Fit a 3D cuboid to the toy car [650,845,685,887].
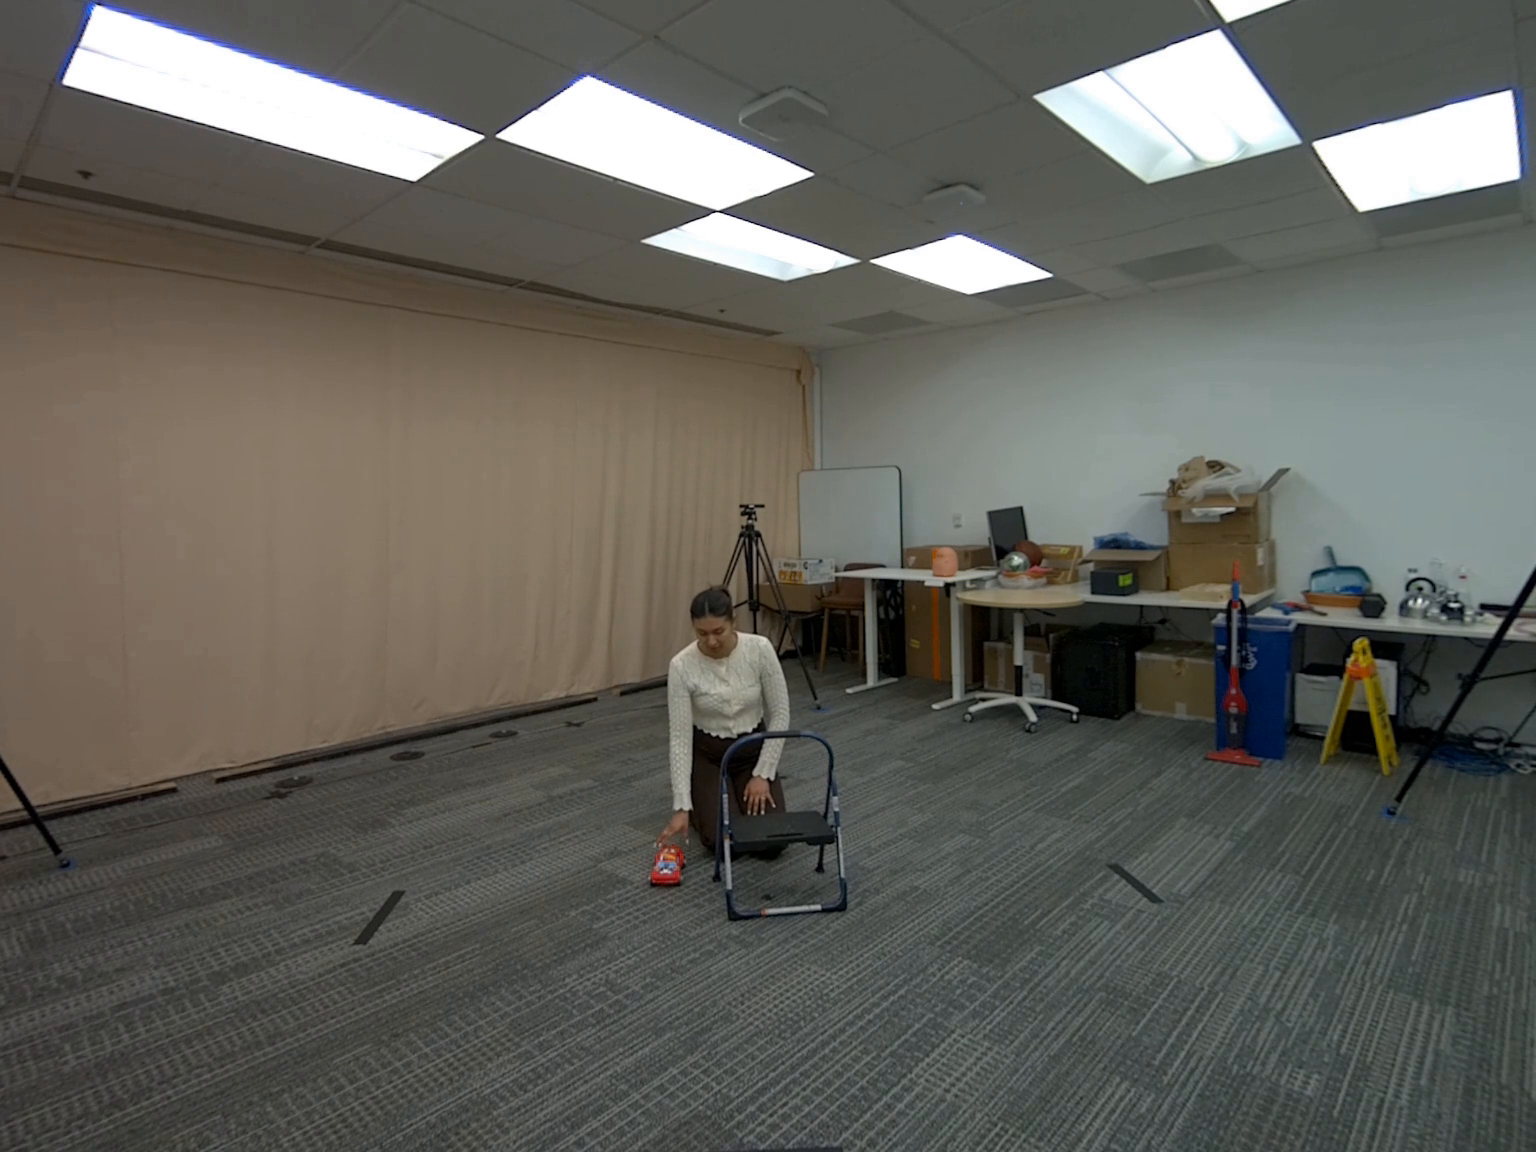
[{"bbox_3d":[-0.388,1.101,3.187,0.130,0.082,0.256,-1,14,0],"label":"toy car"}]
